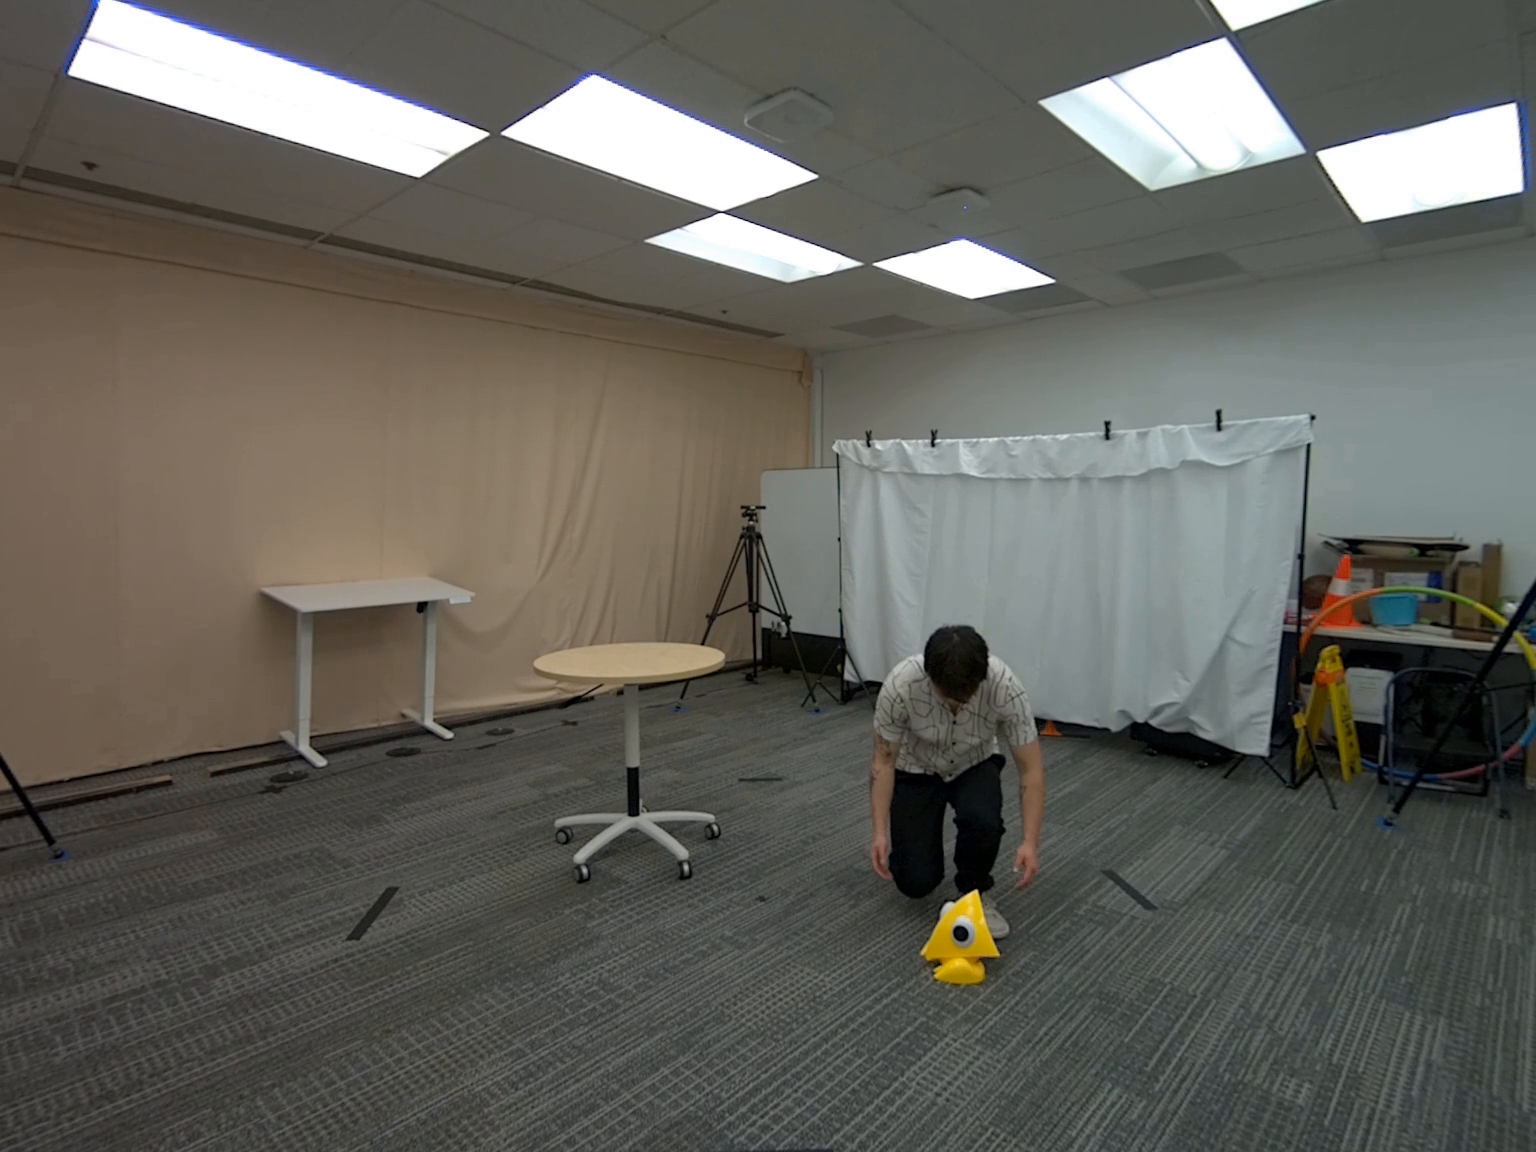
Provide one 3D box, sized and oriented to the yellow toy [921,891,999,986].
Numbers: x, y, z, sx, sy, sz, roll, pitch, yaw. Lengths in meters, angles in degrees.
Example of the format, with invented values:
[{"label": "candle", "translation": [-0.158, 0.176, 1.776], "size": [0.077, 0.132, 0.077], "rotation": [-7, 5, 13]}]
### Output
[{"label": "yellow toy", "translation": [0.572, 1.060, 2.546], "size": [0.192, 0.230, 0.206], "rotation": [1, 3, -6]}]
